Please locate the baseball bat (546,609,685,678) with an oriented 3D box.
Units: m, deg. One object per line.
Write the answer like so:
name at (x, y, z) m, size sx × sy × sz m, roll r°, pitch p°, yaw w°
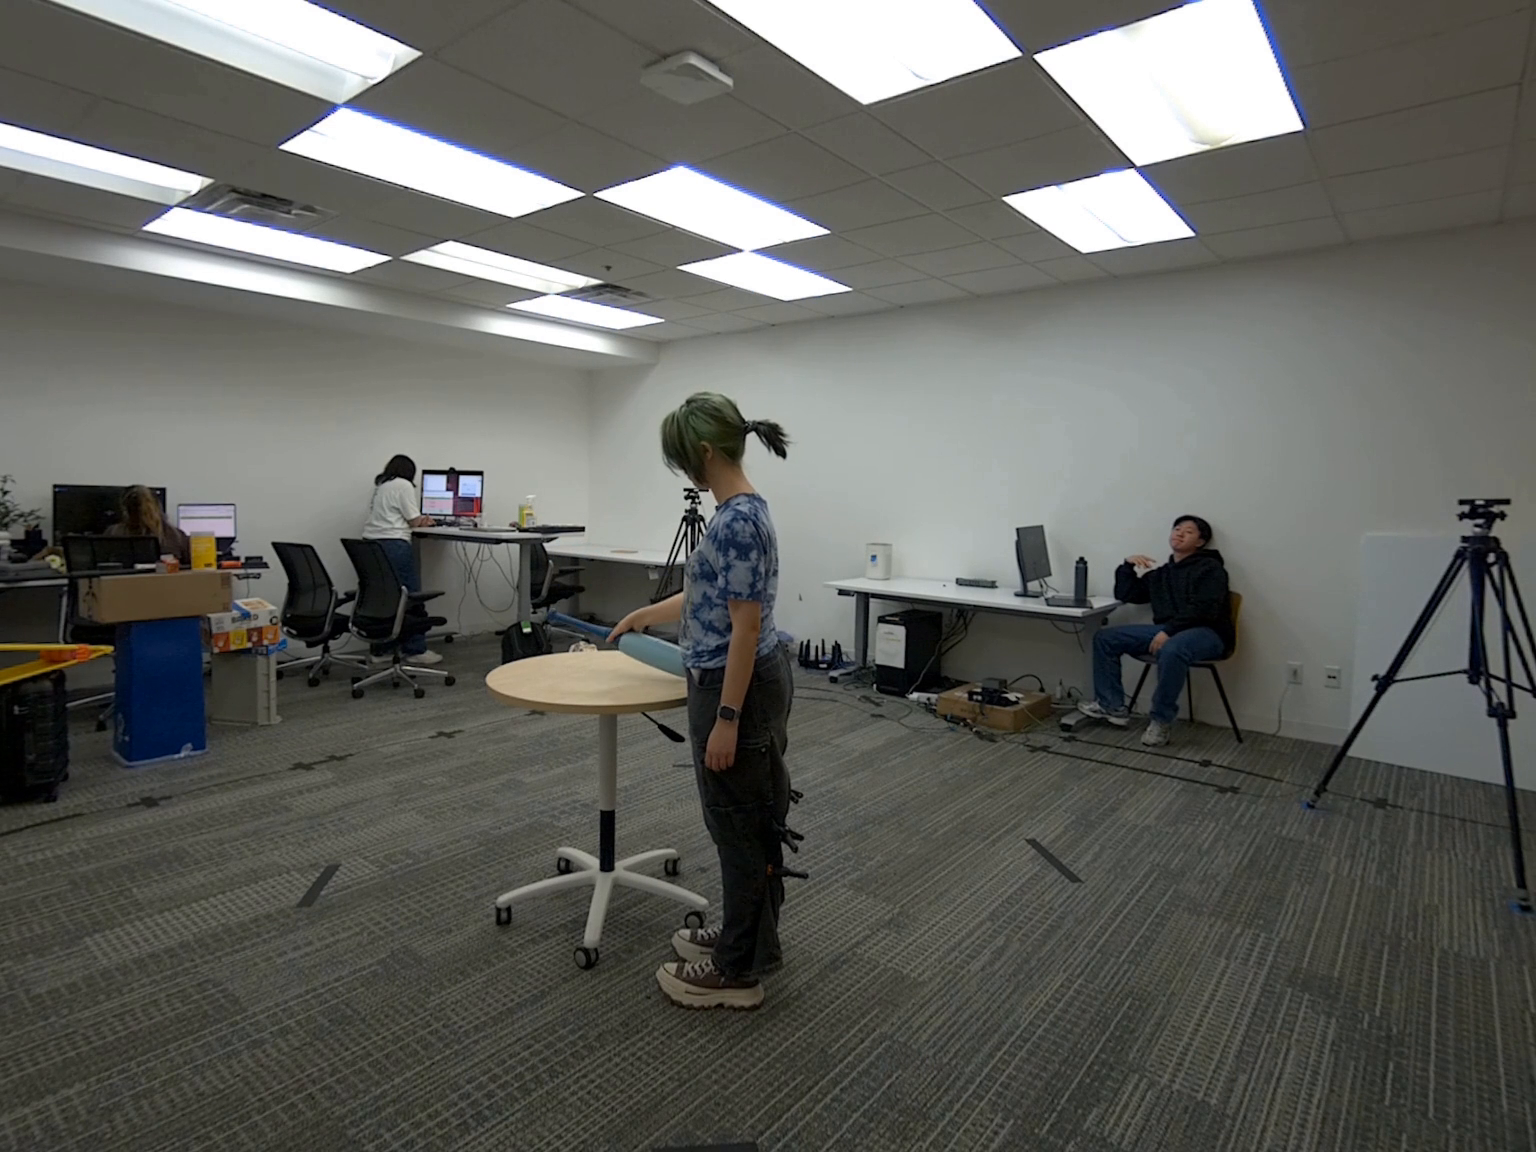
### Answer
baseball bat at (-0.485, 0.206, 2.740) m, size 0.558 × 0.088 × 0.087 m, roll 17°, pitch 9°, yaw 21°
